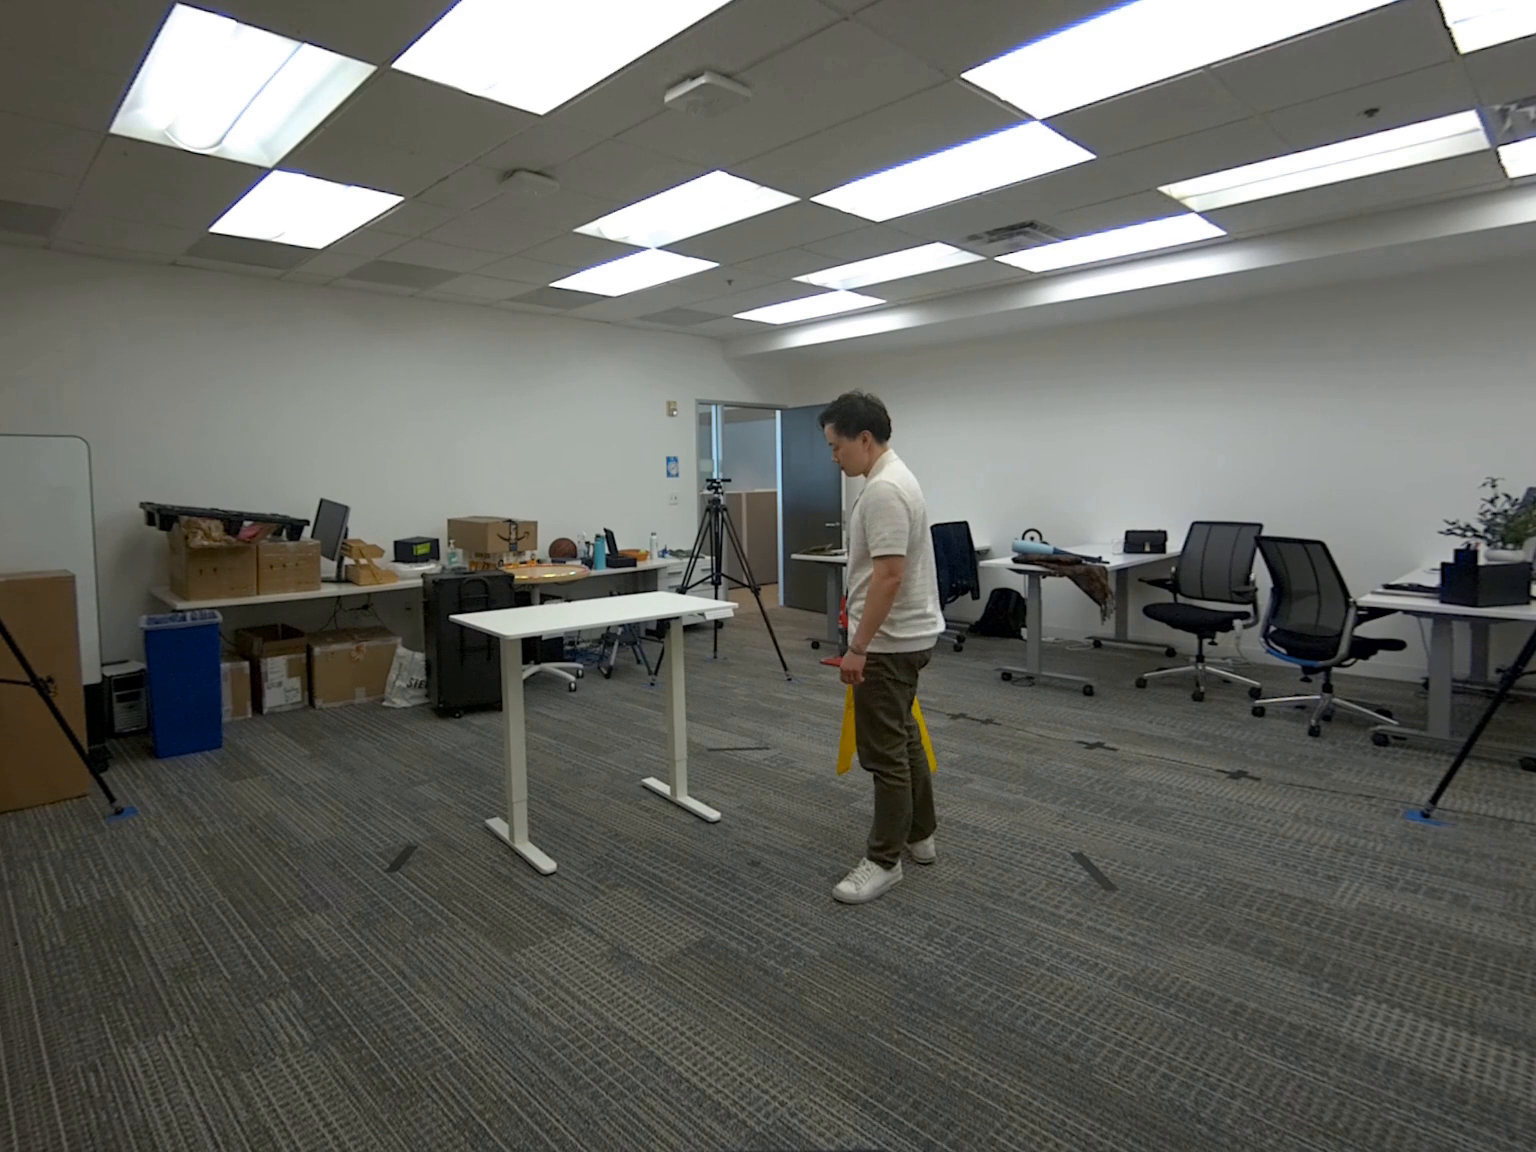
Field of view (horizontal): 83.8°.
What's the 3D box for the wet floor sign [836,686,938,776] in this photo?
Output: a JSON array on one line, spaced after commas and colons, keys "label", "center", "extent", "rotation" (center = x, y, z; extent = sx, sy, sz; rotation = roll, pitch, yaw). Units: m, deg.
[{"label": "wet floor sign", "center": [0.438, 0.480, 3.370], "extent": [0.277, 0.639, 0.299], "rotation": [-17, 15, -42]}]
